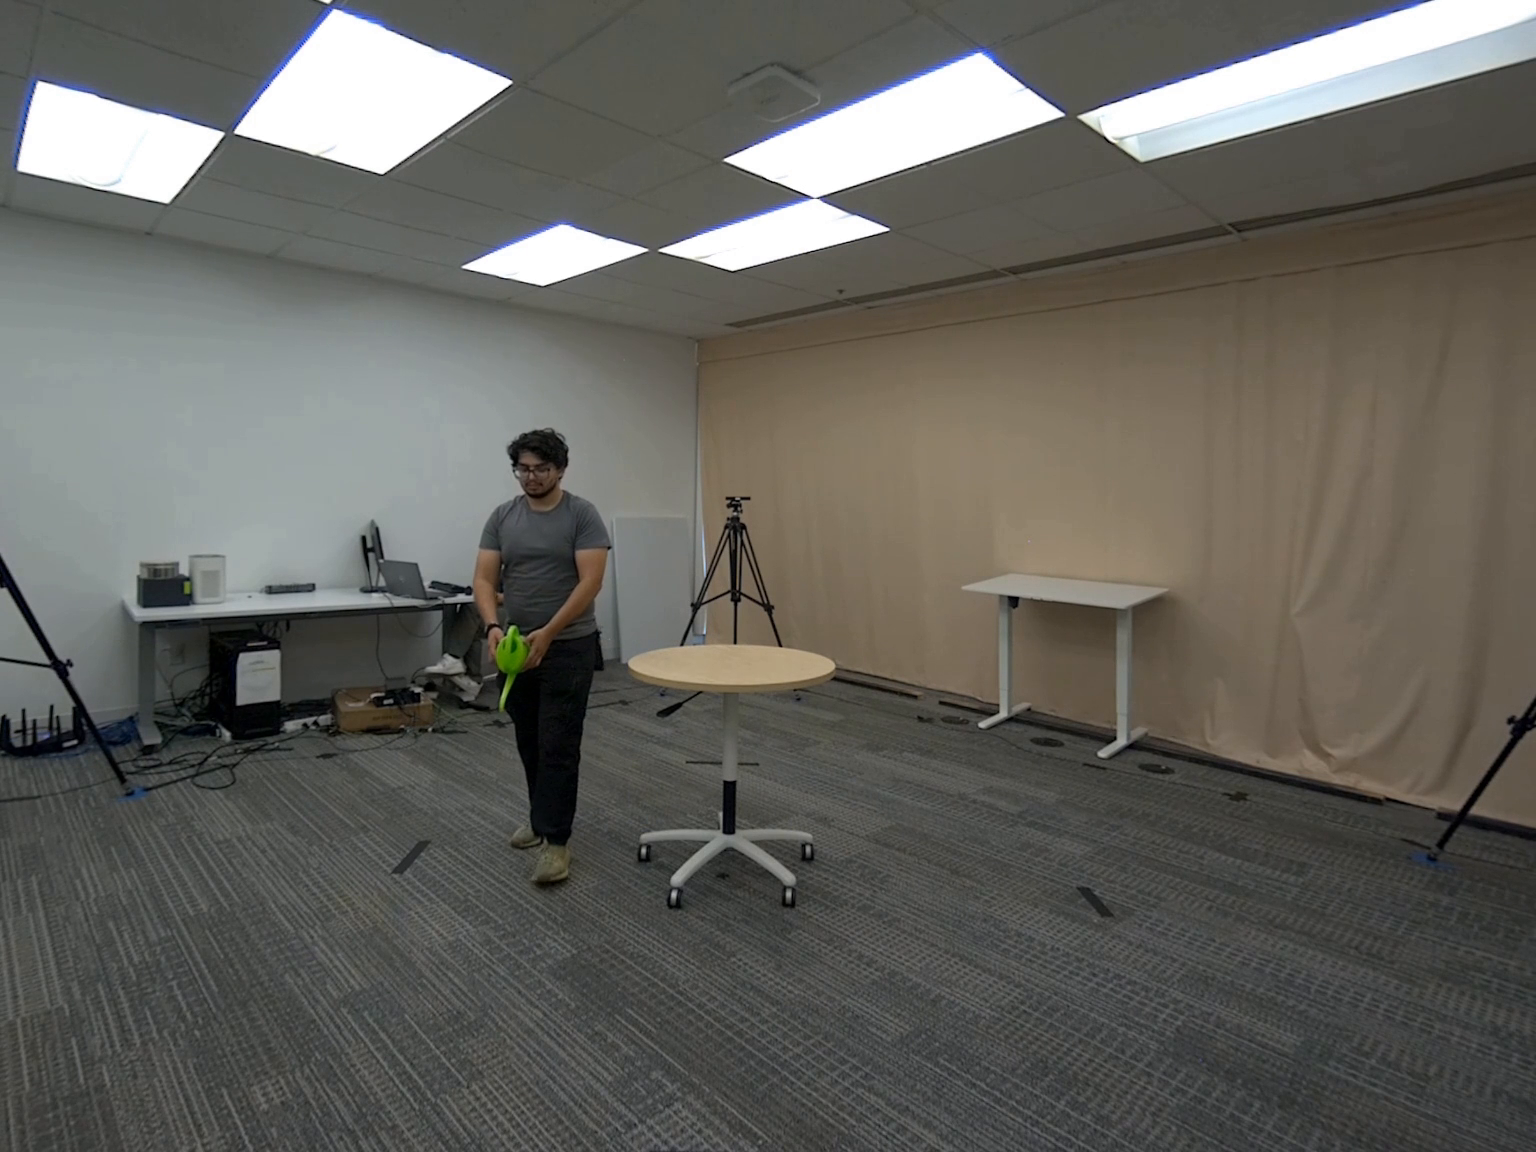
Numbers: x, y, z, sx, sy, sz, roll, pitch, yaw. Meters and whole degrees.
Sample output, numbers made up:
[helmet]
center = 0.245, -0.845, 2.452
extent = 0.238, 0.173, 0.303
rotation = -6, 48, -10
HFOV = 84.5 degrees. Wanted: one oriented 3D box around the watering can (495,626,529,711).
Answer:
[watering can]
center = -0.910, 0.314, 2.891
extent = 0.098, 0.279, 0.176
rotation = 16, -8, -1
